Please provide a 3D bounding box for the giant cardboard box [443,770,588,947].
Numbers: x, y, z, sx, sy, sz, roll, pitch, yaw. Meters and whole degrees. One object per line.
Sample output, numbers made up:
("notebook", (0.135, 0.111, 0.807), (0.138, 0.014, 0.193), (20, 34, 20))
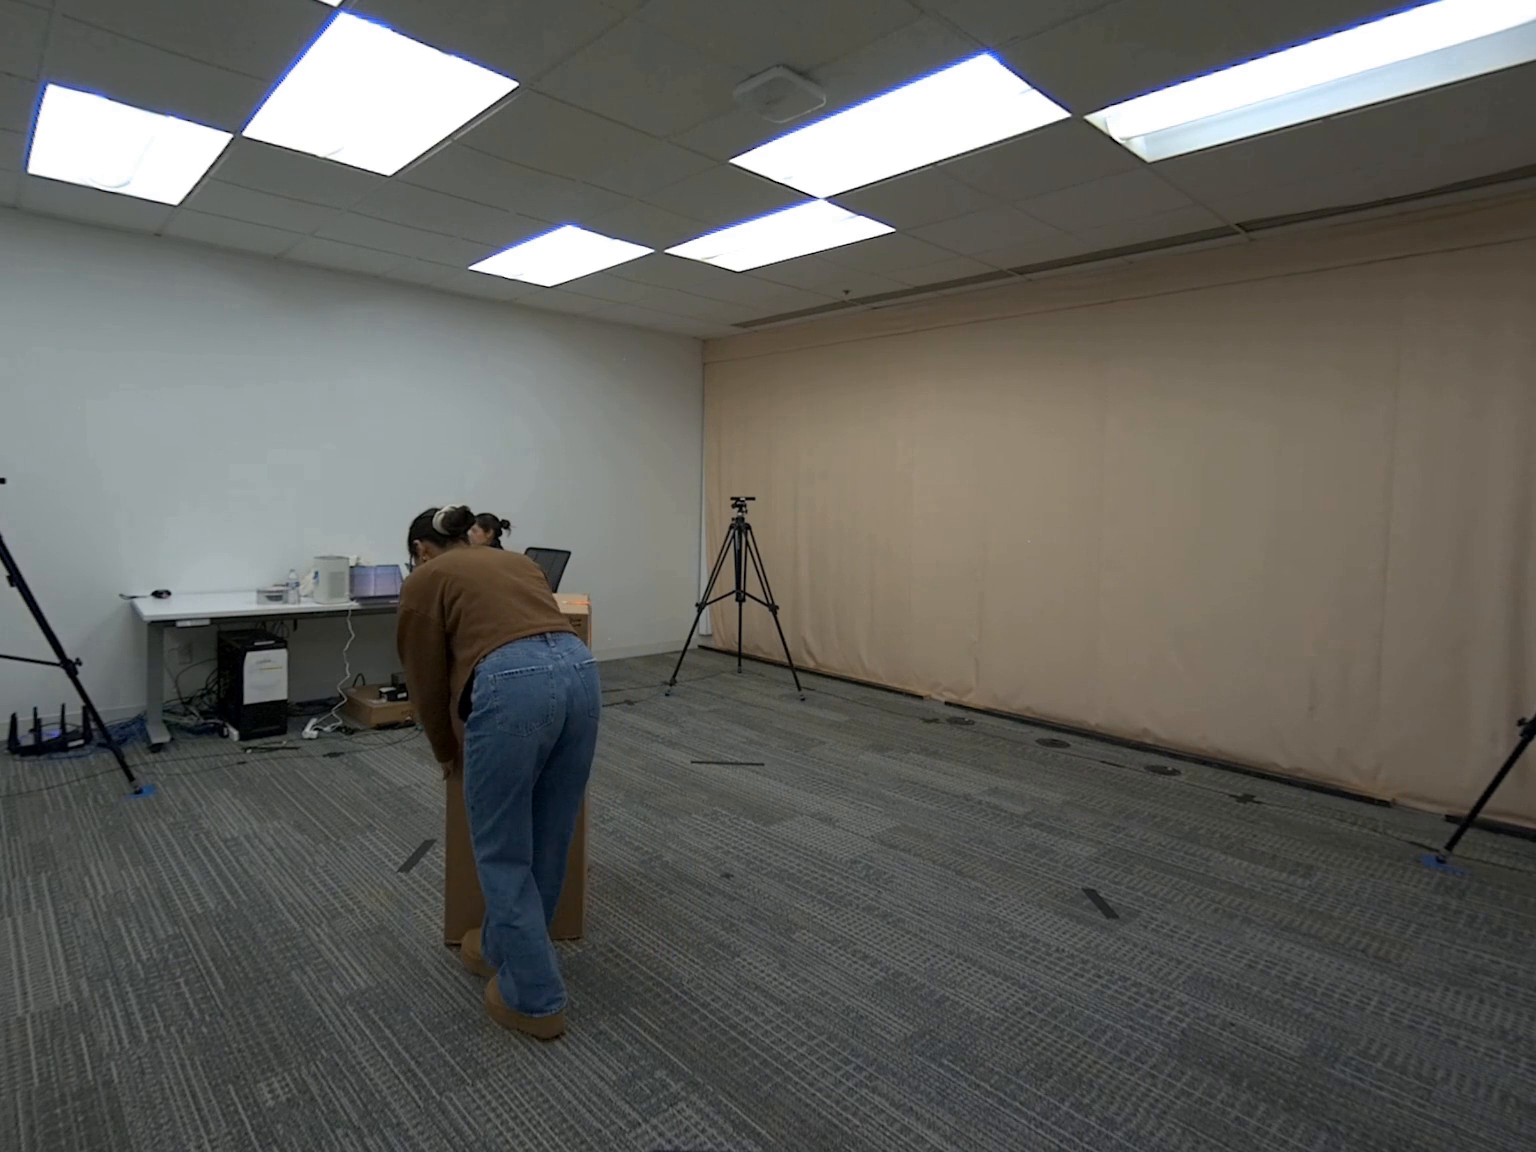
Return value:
("giant cardboard box", (-0.836, 0.609, 2.866), (0.422, 1.024, 0.583), (1, 2, -12))
